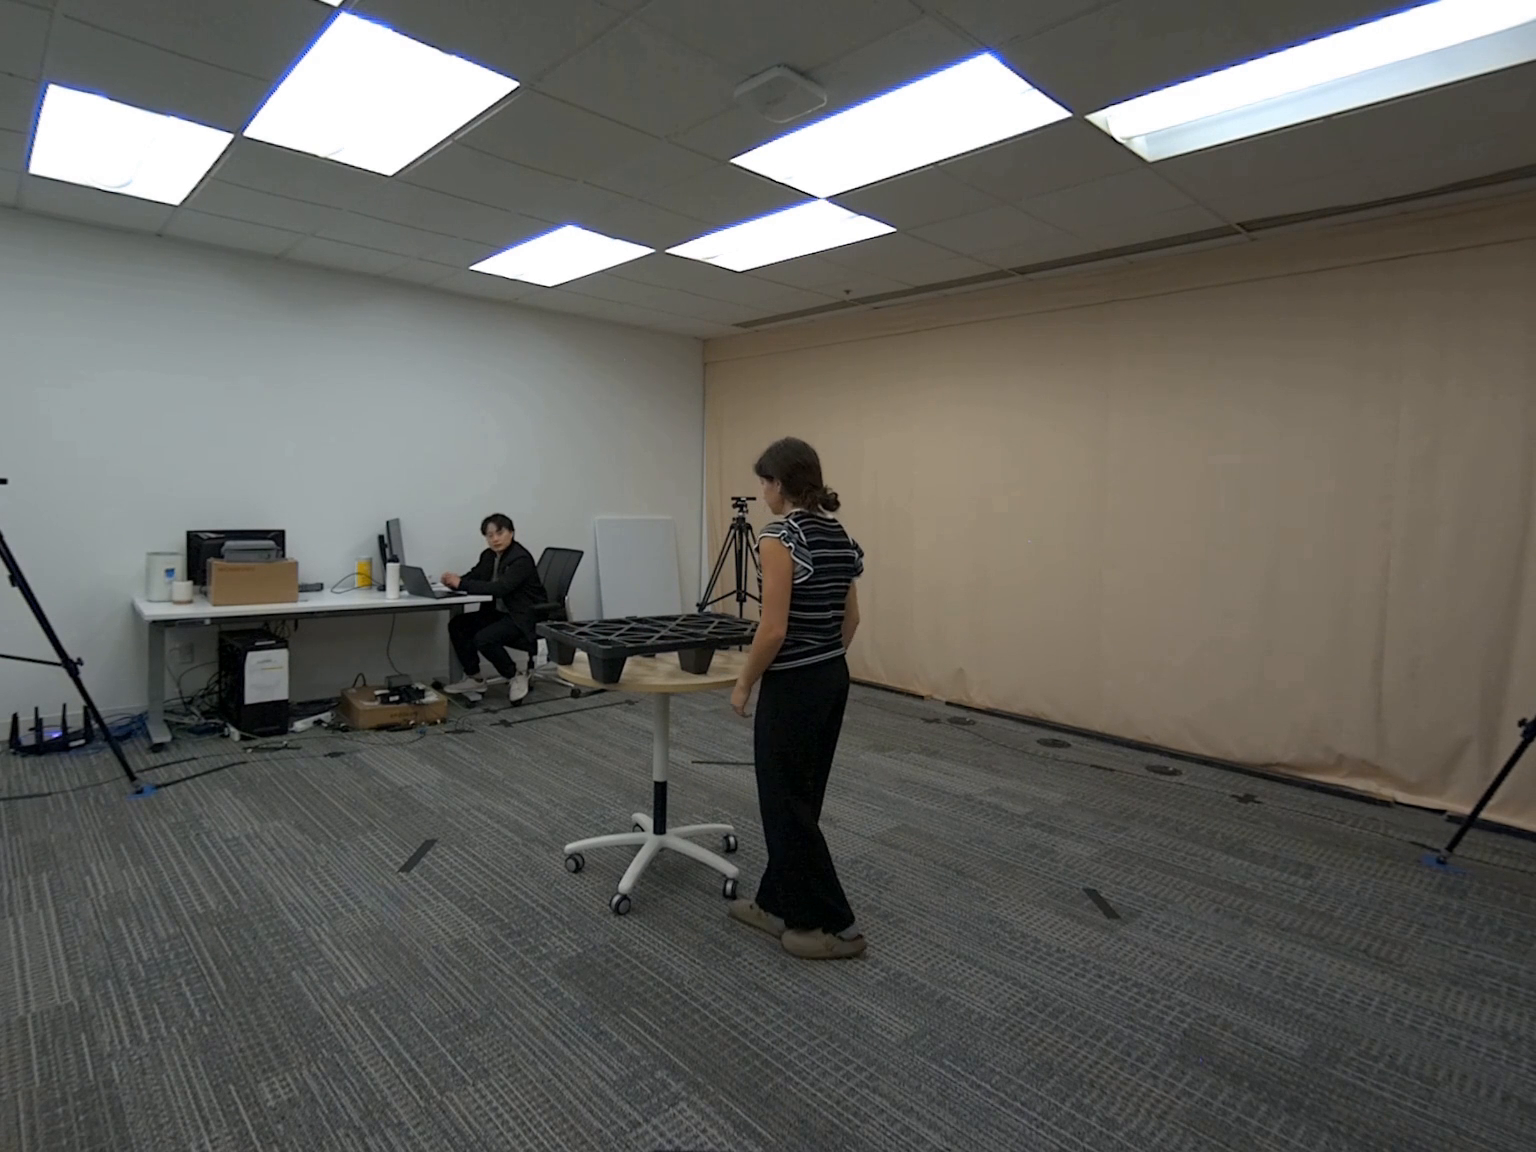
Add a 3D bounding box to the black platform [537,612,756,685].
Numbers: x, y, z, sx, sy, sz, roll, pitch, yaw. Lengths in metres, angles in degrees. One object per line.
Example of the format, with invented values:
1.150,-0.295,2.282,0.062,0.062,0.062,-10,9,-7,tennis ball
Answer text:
-0.375,0.256,3.083,0.788,0.143,0.620,-2,5,-35,black platform
